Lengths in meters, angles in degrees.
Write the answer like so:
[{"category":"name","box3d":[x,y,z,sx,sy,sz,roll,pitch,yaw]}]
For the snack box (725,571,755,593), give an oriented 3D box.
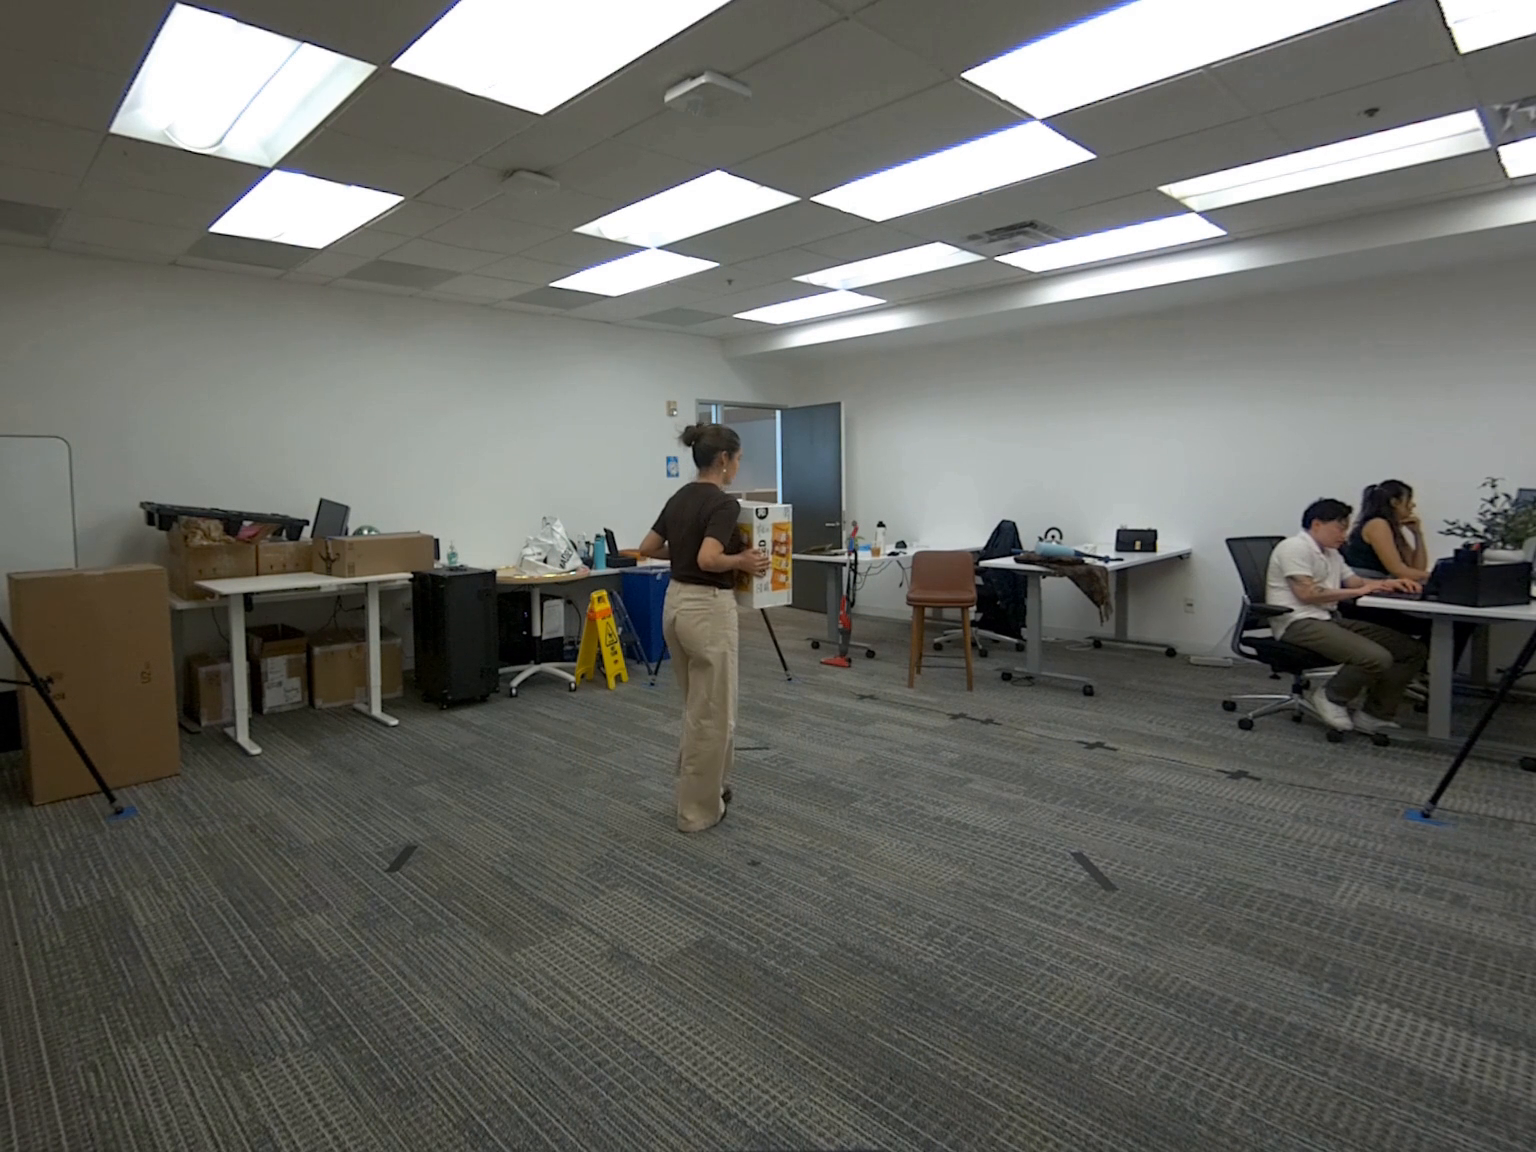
[{"category":"snack box","box3d":[-0.081,-0.102,3.552,0.200,0.402,0.351,-5,9,-37]}]
